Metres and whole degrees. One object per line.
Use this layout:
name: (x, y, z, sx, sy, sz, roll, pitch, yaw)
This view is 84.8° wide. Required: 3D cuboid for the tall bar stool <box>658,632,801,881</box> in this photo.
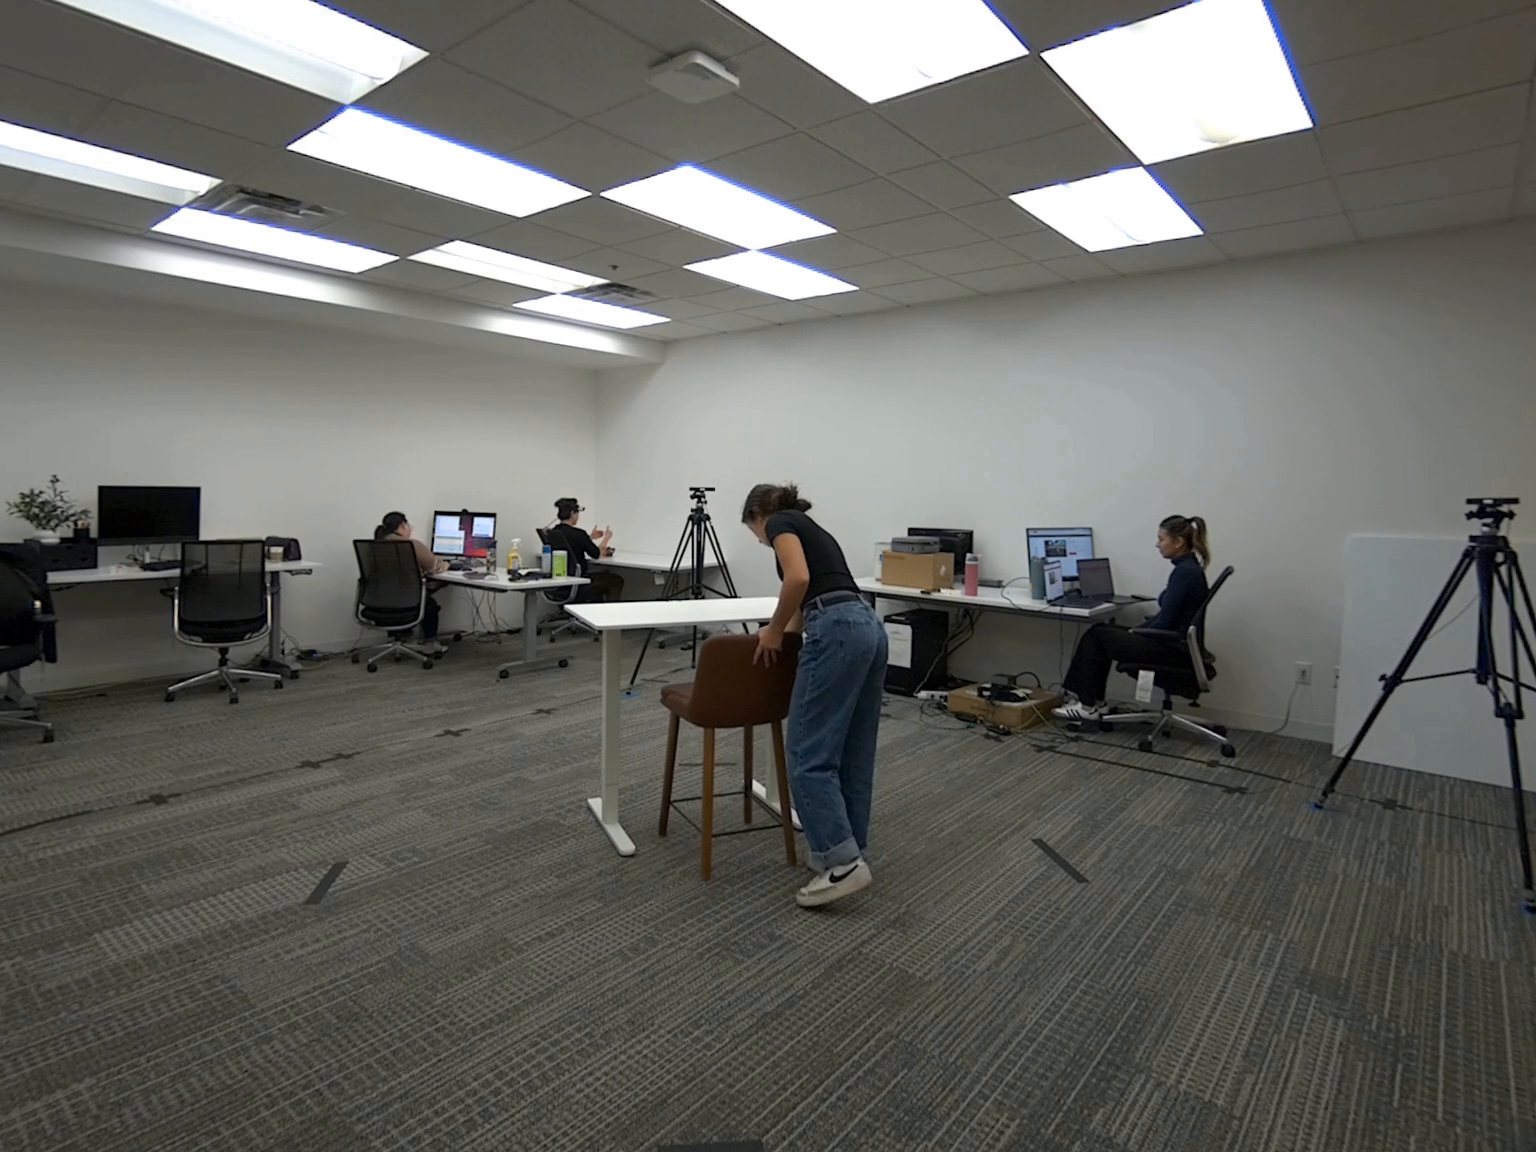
tall bar stool: (-0.160, 0.619, 3.252, 0.446, 0.885, 0.481, 0, 6, -24)
